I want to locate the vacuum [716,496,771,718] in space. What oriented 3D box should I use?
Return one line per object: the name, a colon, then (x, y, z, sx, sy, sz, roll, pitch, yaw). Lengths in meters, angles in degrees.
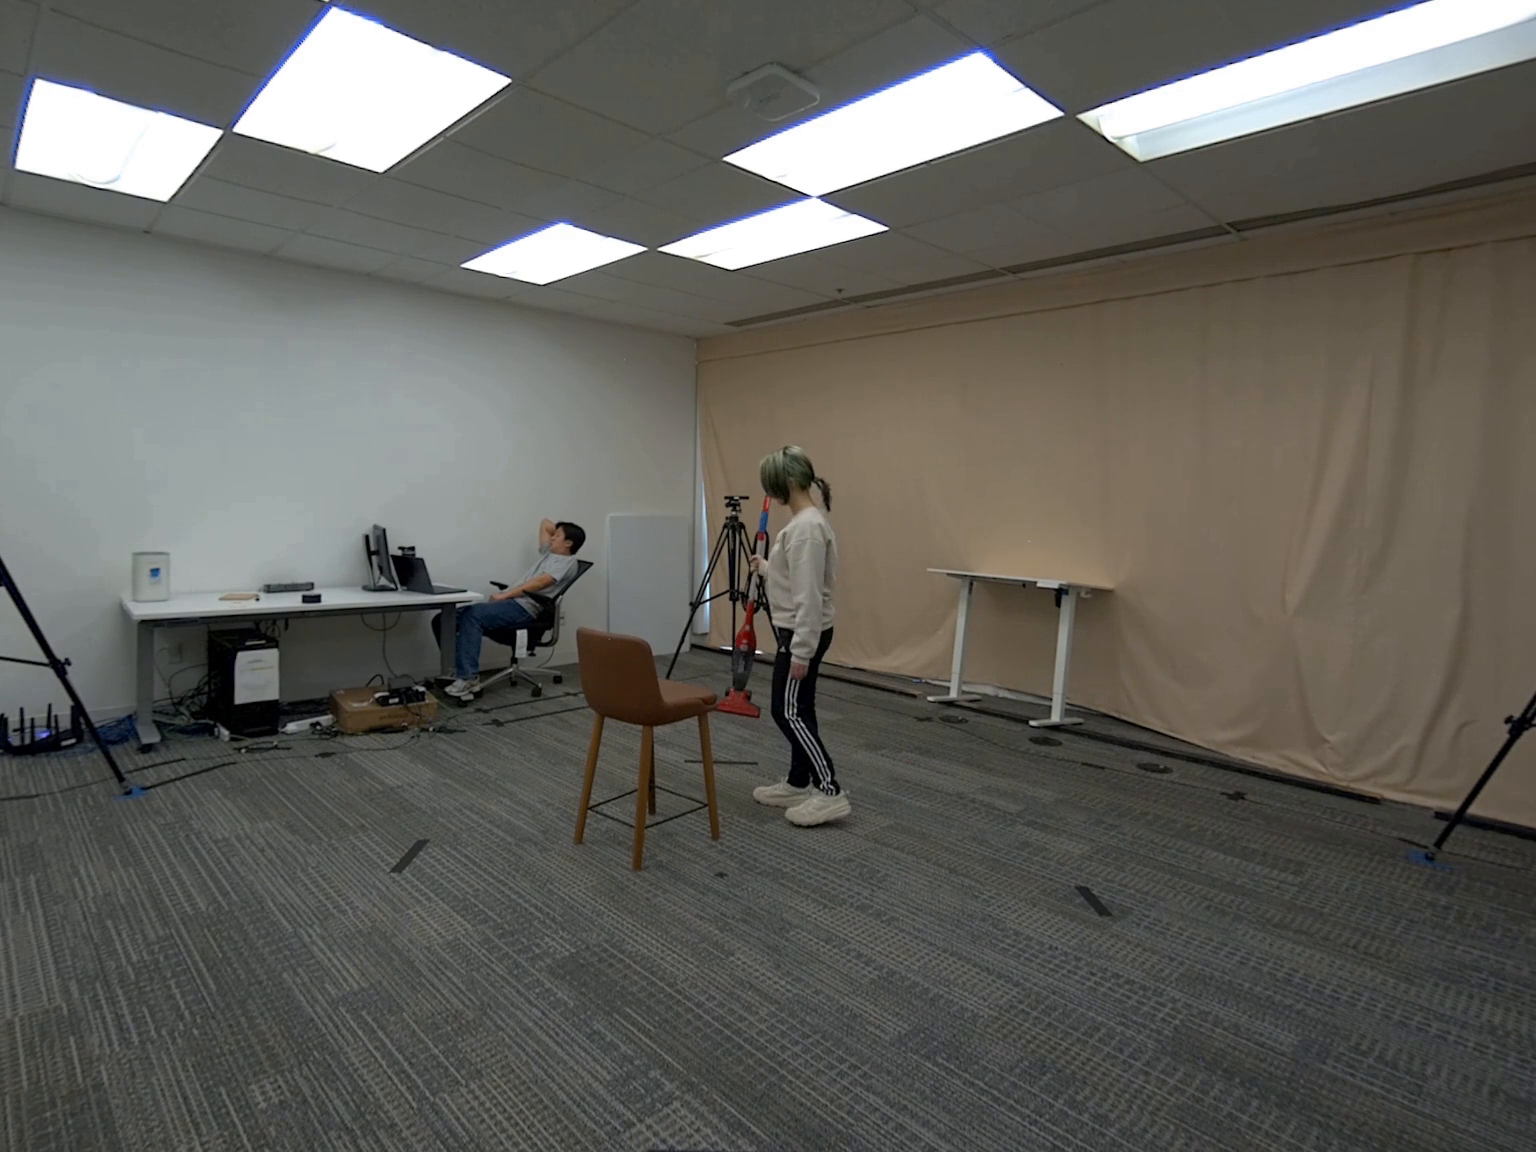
vacuum: (-0.082, 0.118, 4.178, 0.252, 1.049, 0.144, 8, 1, -1)
